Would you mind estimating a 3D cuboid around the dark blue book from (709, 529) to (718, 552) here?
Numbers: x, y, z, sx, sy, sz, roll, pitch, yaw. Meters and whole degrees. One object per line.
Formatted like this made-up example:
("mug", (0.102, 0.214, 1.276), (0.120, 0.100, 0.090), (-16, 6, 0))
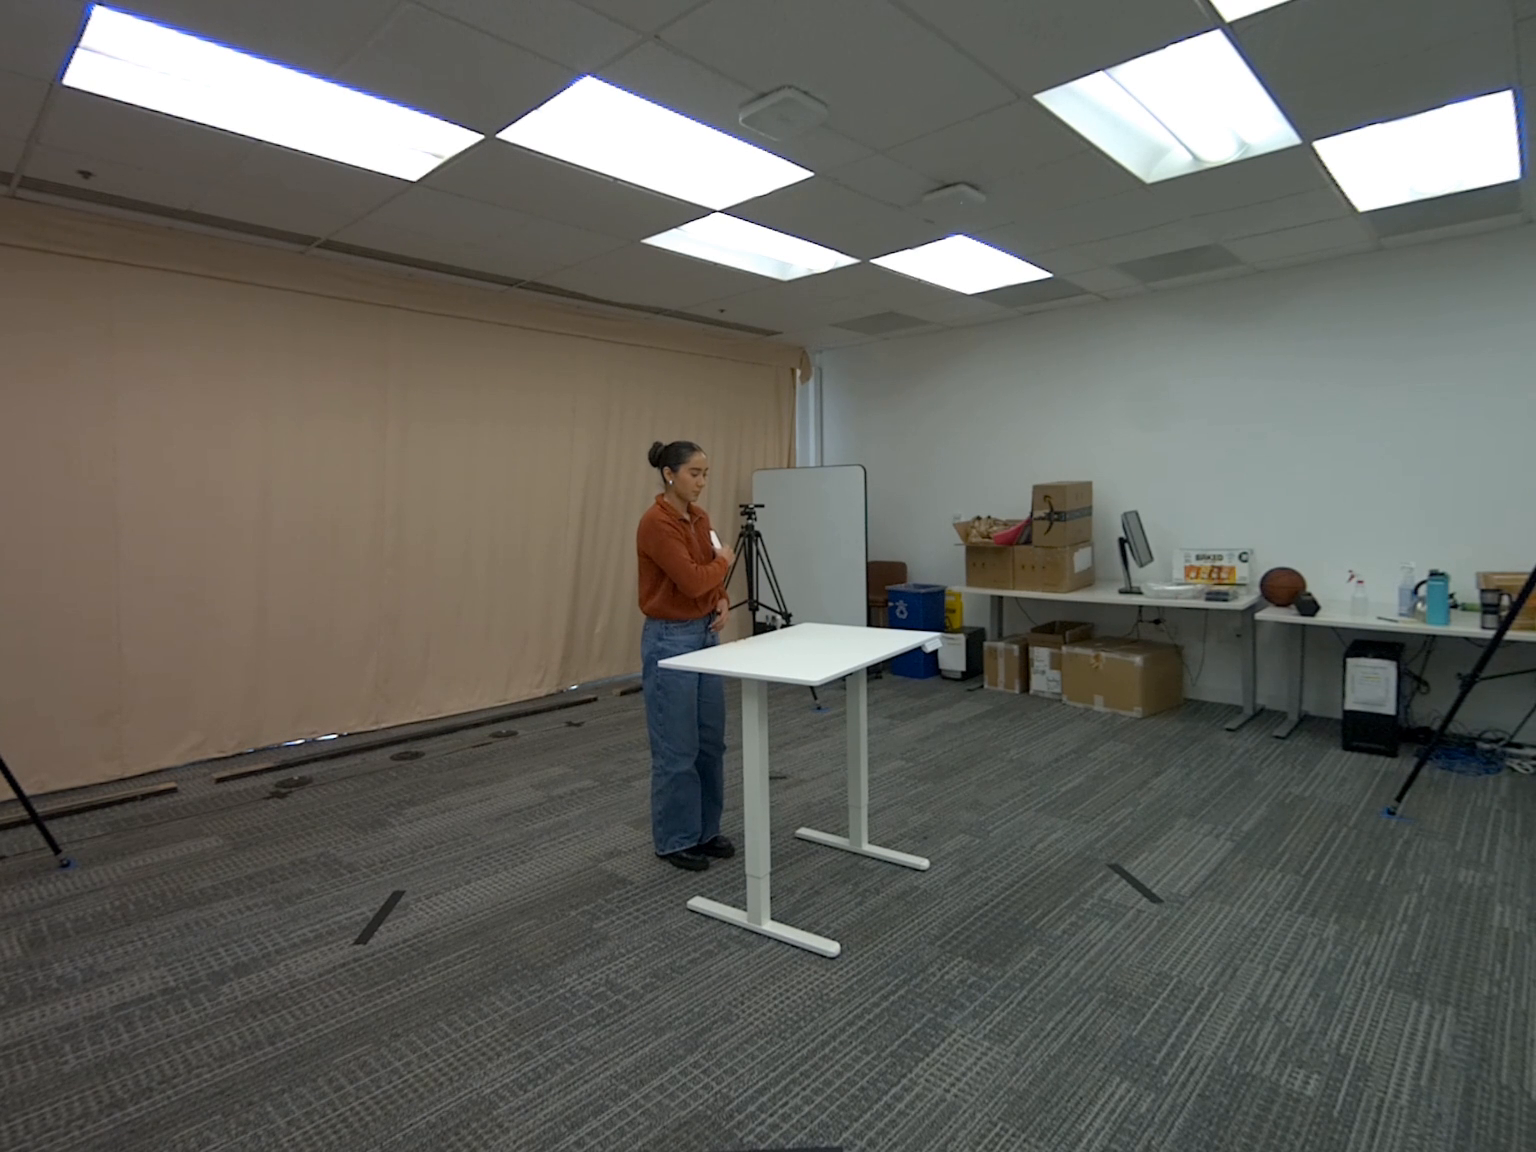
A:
("dark blue book", (-0.275, -0.057, 3.441), (0.045, 0.167, 0.242), (-2, -32, -10))
